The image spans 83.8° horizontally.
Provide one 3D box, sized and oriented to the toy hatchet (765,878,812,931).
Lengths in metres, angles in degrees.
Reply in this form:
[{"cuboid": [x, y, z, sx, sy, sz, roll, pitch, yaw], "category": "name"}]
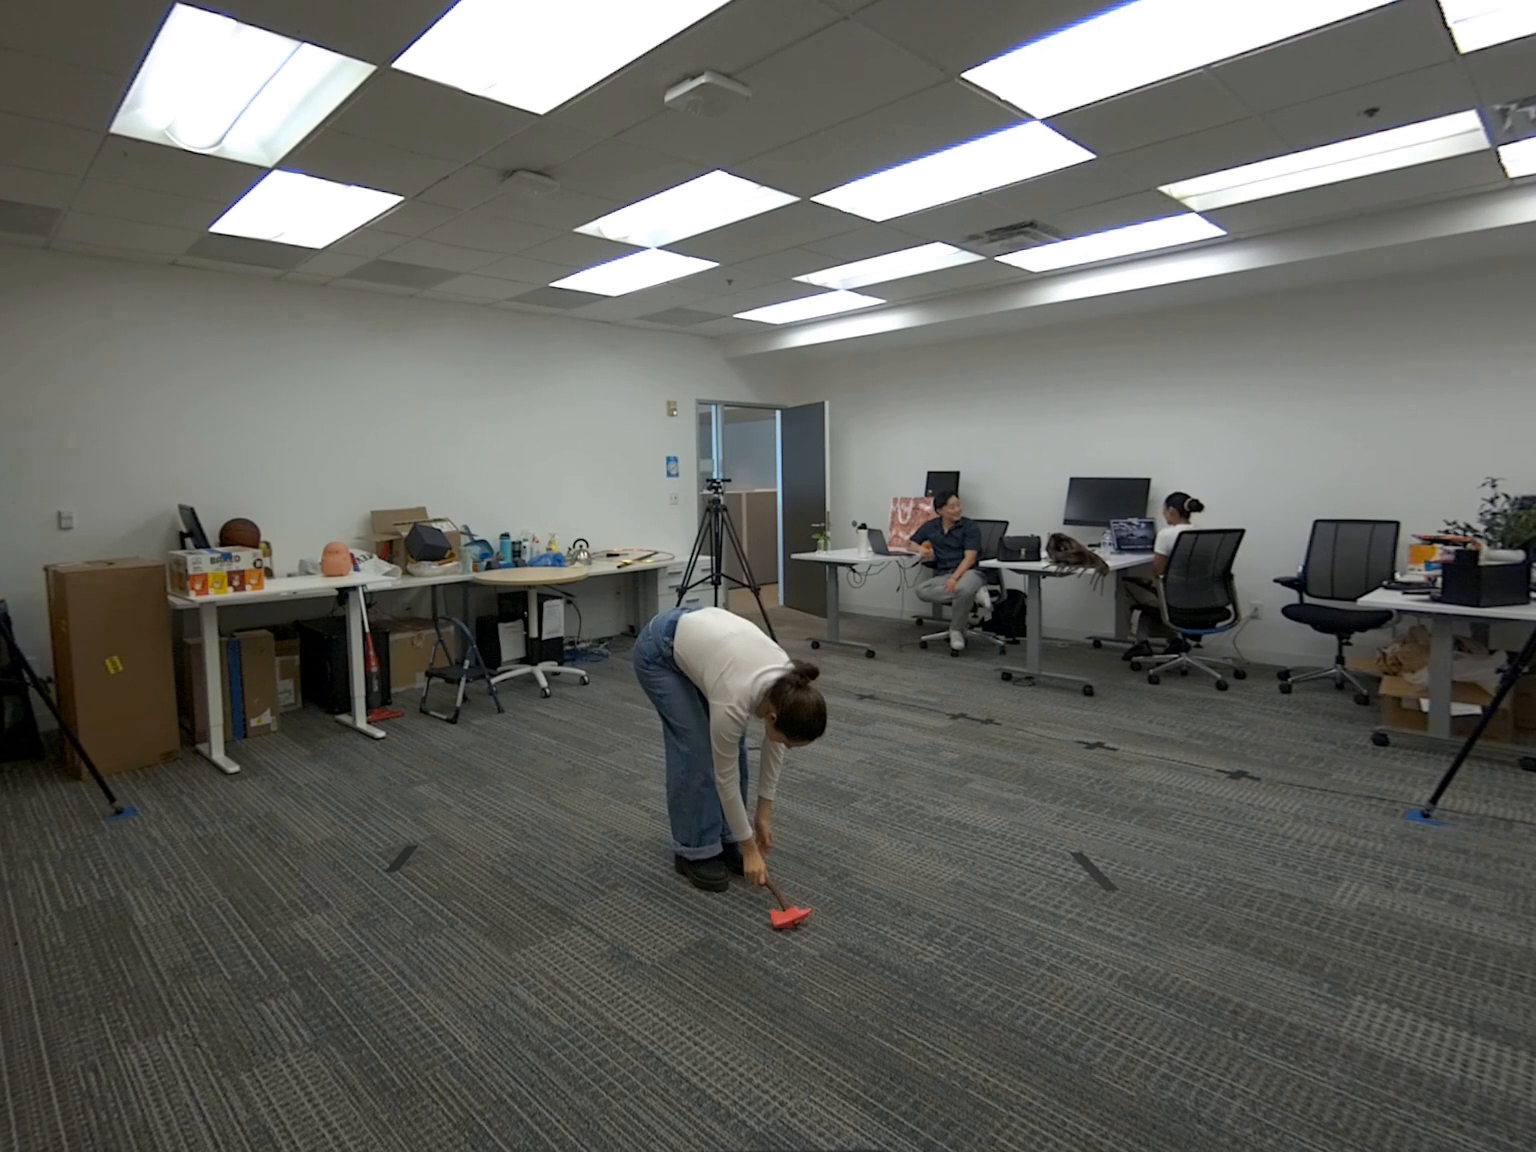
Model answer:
[{"cuboid": [0.007, 1.034, 2.724, 0.129, 0.029, 0.280, -23, 29, -39], "category": "toy hatchet"}]
